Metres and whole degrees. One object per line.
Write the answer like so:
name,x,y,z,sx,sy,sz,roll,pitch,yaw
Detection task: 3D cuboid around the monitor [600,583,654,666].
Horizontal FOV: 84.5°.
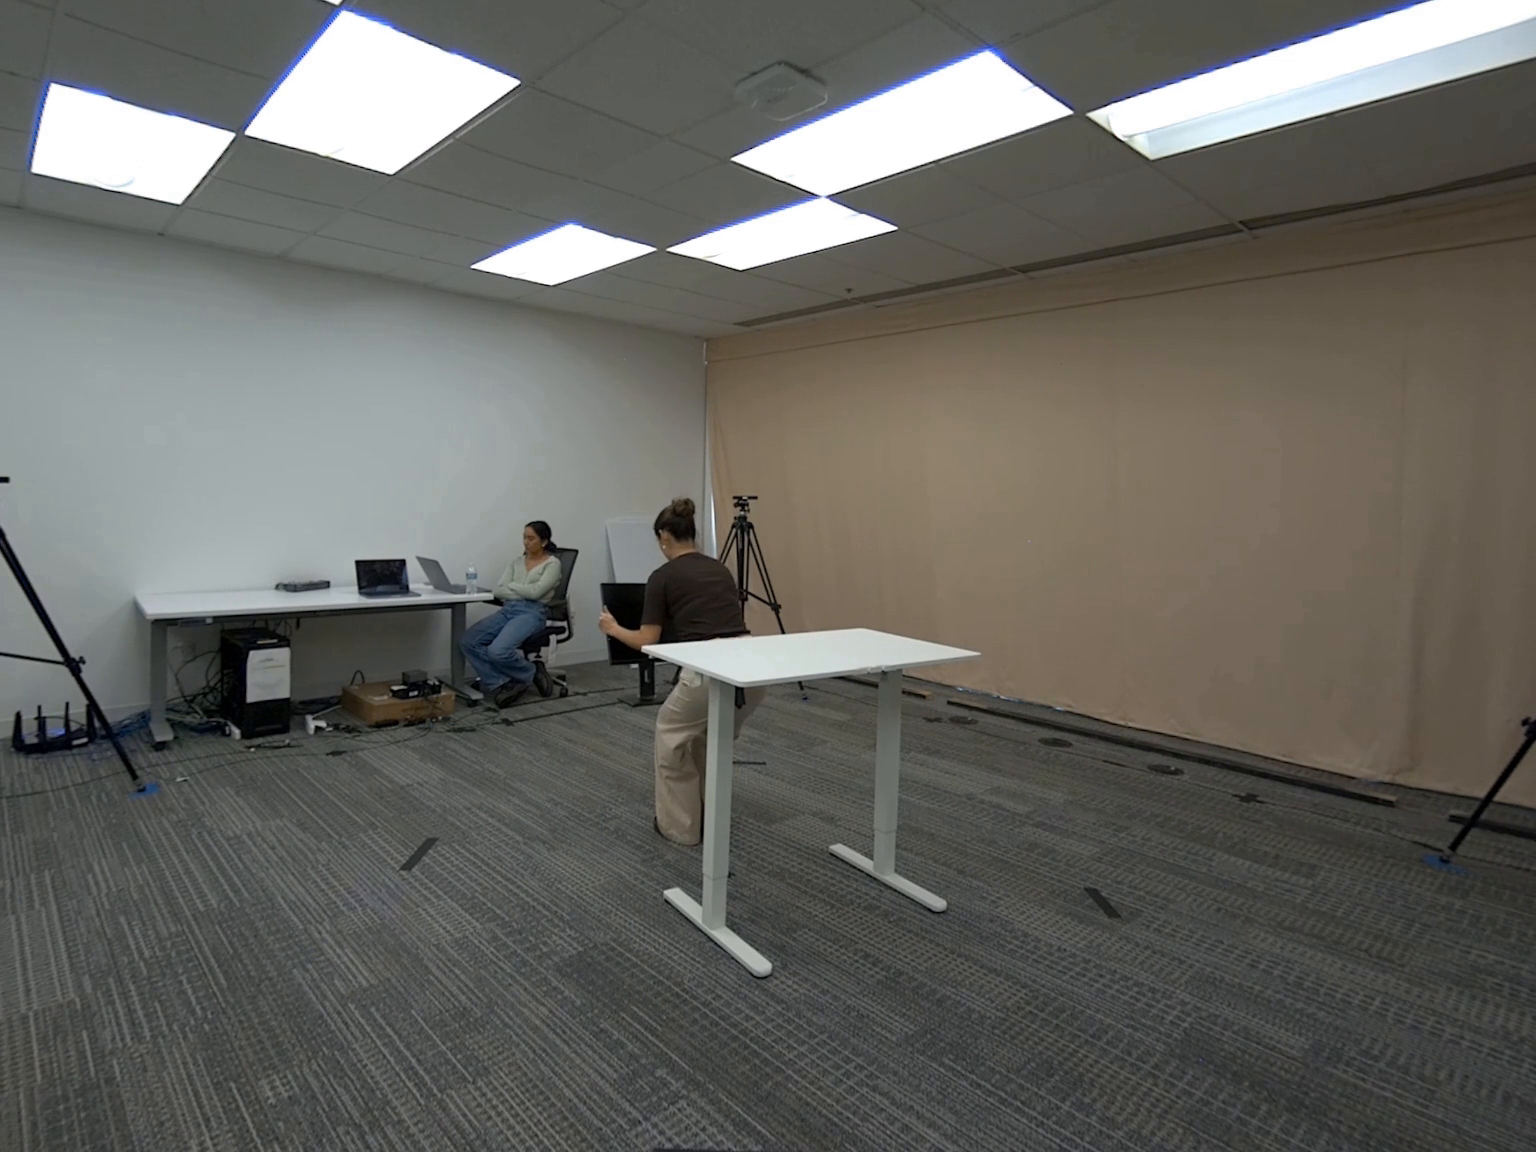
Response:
monitor,-0.525,0.303,3.722,0.526,0.523,0.191,0,0,-44
